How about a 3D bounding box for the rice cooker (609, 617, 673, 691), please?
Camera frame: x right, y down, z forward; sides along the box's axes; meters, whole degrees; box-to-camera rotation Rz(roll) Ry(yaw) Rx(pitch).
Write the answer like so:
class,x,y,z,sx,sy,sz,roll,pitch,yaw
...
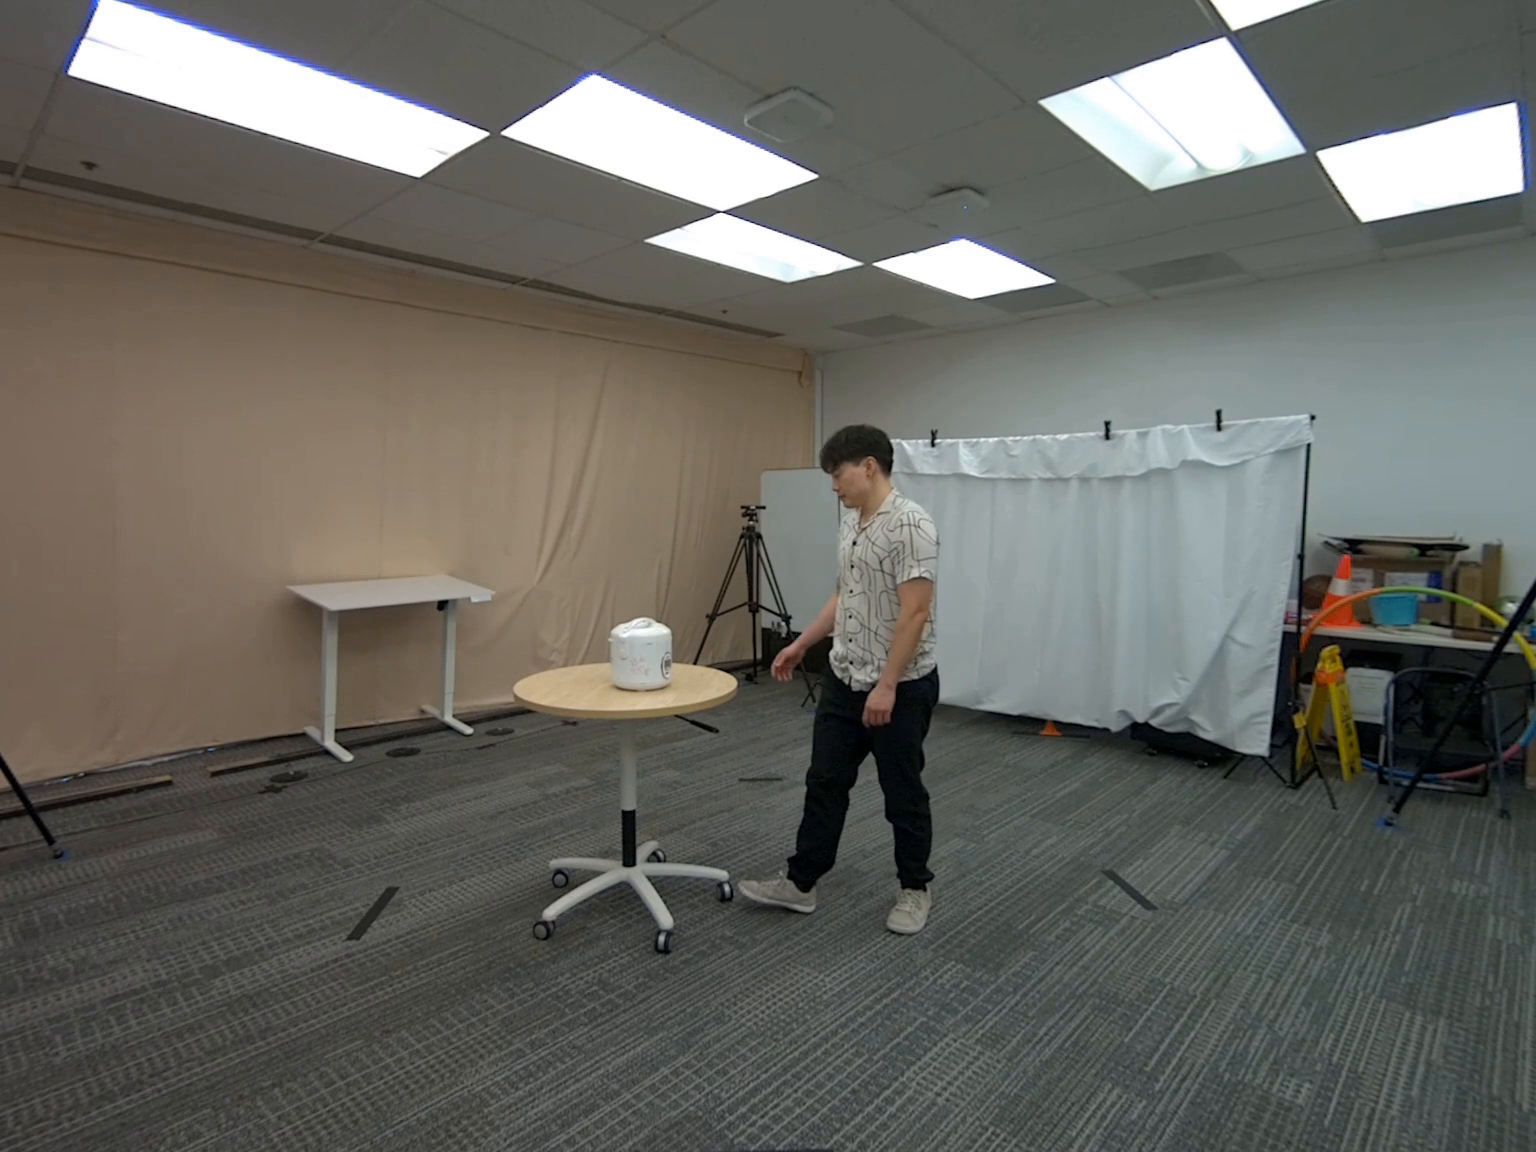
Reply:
class,x,y,z,sx,sy,sz,roll,pitch,yaw
rice cooker,-0.425,0.262,2.865,0.223,0.232,0.215,1,4,29
